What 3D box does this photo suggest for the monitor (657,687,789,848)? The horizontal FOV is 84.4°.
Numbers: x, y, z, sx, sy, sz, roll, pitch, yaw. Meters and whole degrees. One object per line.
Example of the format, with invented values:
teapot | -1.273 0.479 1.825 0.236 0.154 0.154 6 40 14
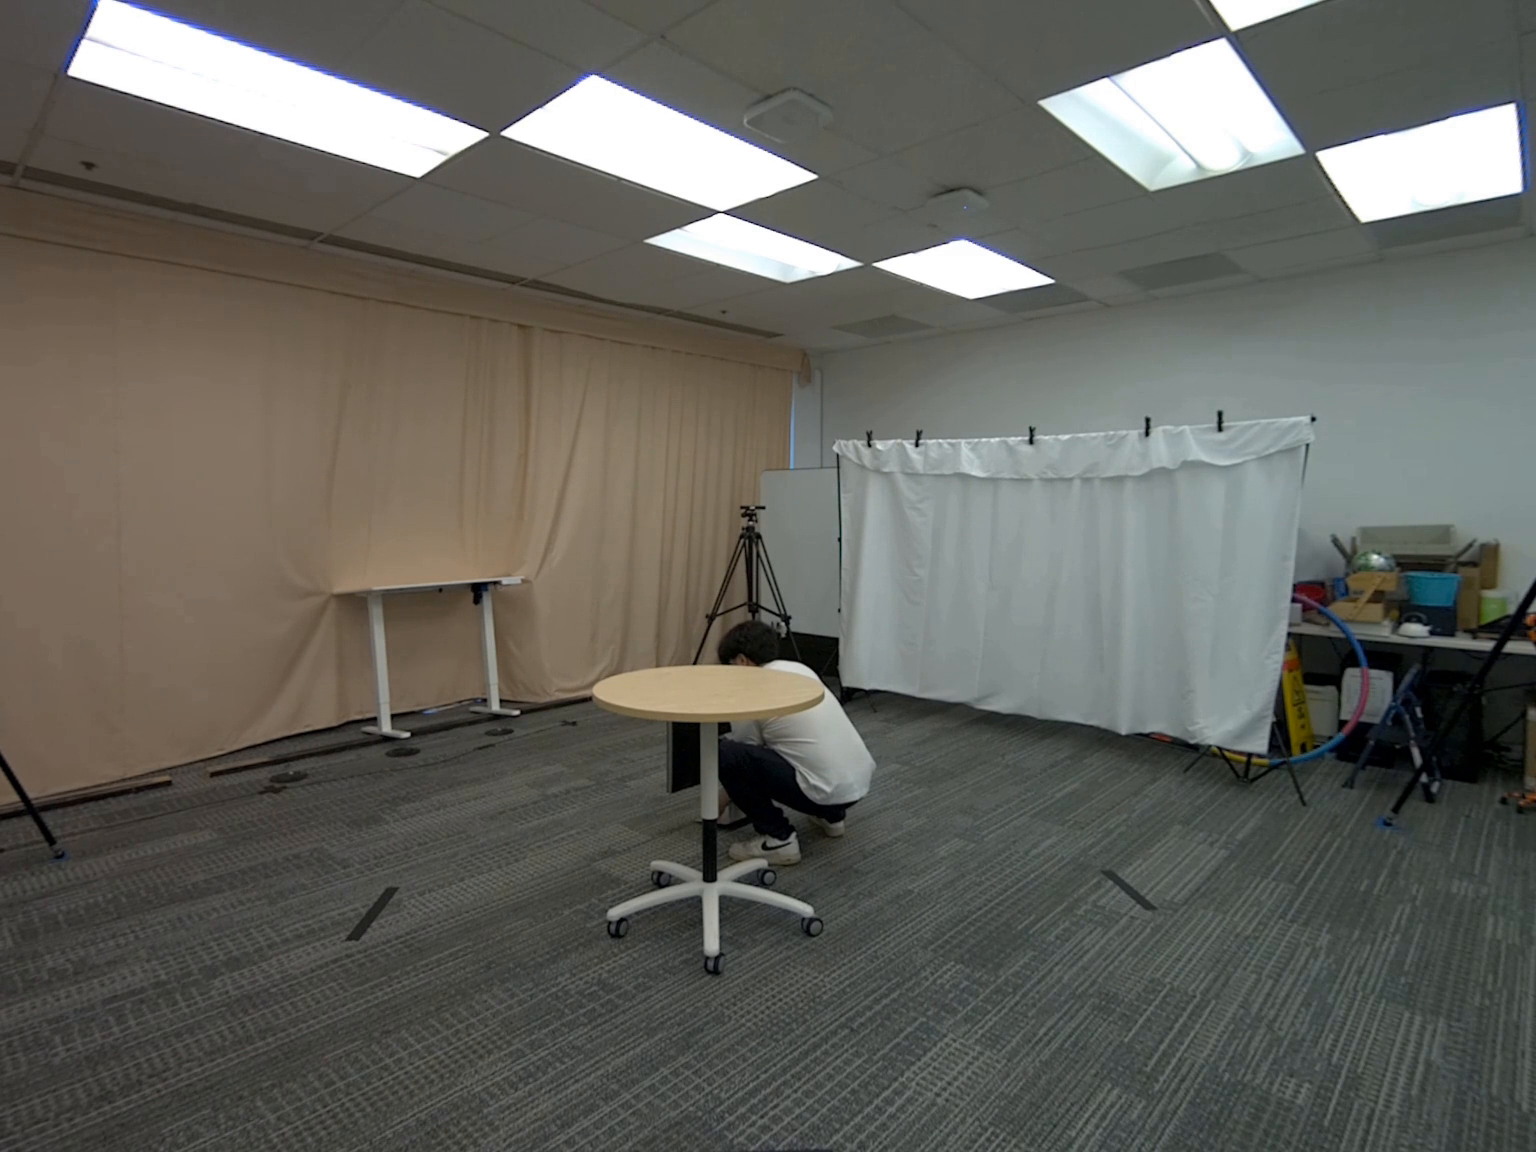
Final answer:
monitor | -0.191 0.819 3.742 0.216 0.554 0.548 -4 0 43
